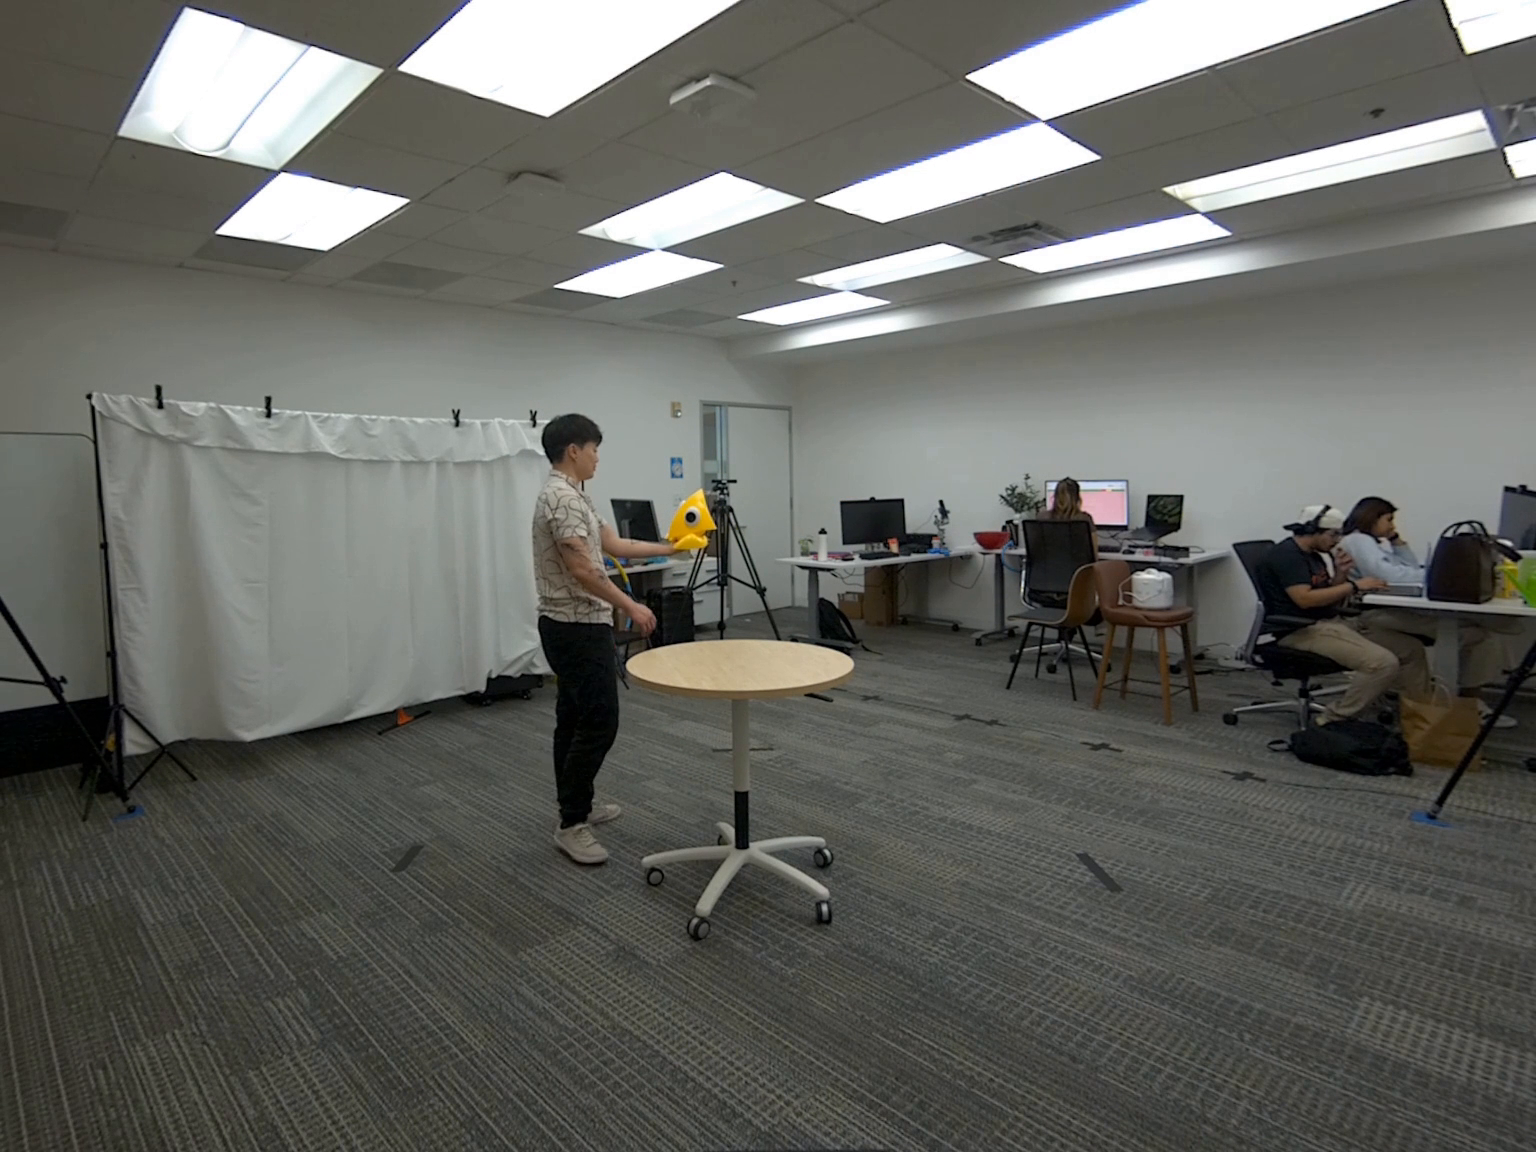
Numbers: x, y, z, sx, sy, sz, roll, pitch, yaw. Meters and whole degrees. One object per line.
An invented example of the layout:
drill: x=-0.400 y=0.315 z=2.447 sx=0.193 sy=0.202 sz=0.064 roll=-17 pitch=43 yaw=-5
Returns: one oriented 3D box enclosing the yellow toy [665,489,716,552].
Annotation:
yellow toy: x=-0.342 y=-0.256 z=3.686 sx=0.190 sy=0.227 sz=0.212 roll=-8 pitch=21 yaw=-21
